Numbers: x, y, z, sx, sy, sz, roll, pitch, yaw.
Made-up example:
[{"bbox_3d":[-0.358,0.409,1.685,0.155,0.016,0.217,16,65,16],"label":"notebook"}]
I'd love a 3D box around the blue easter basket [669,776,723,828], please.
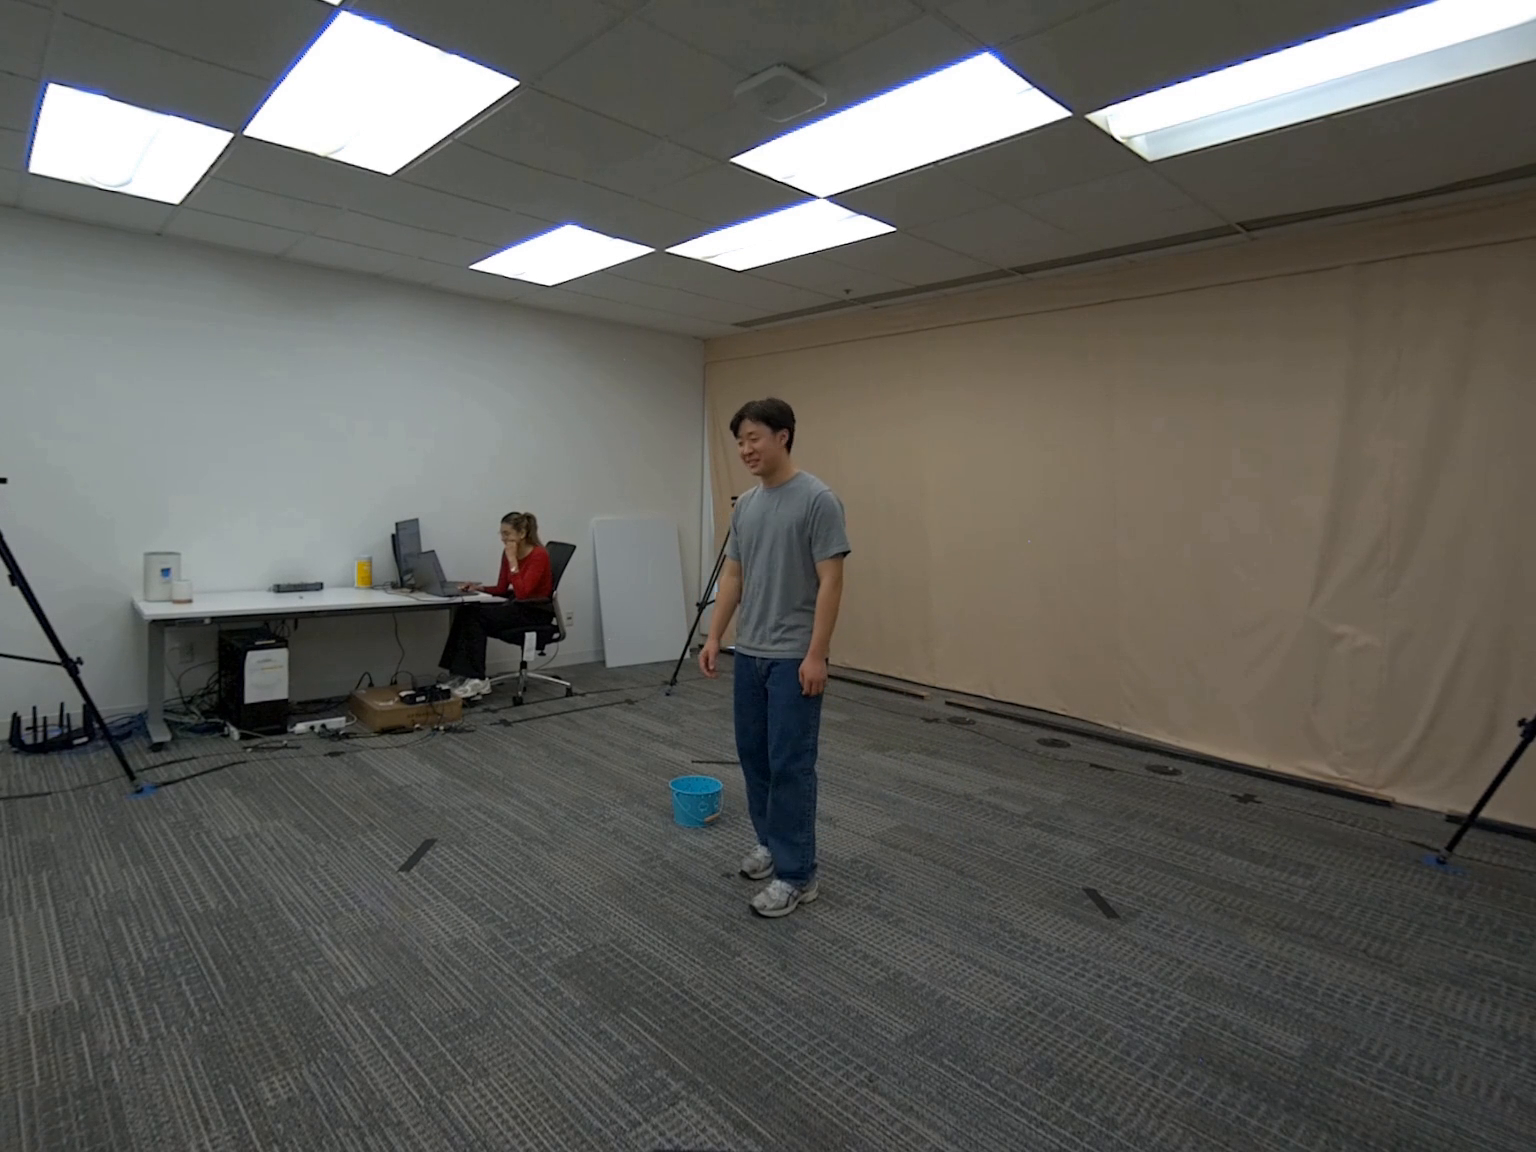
[{"bbox_3d":[-0.323,0.976,3.640,0.243,0.155,0.244,1,4,-1],"label":"blue easter basket"}]
